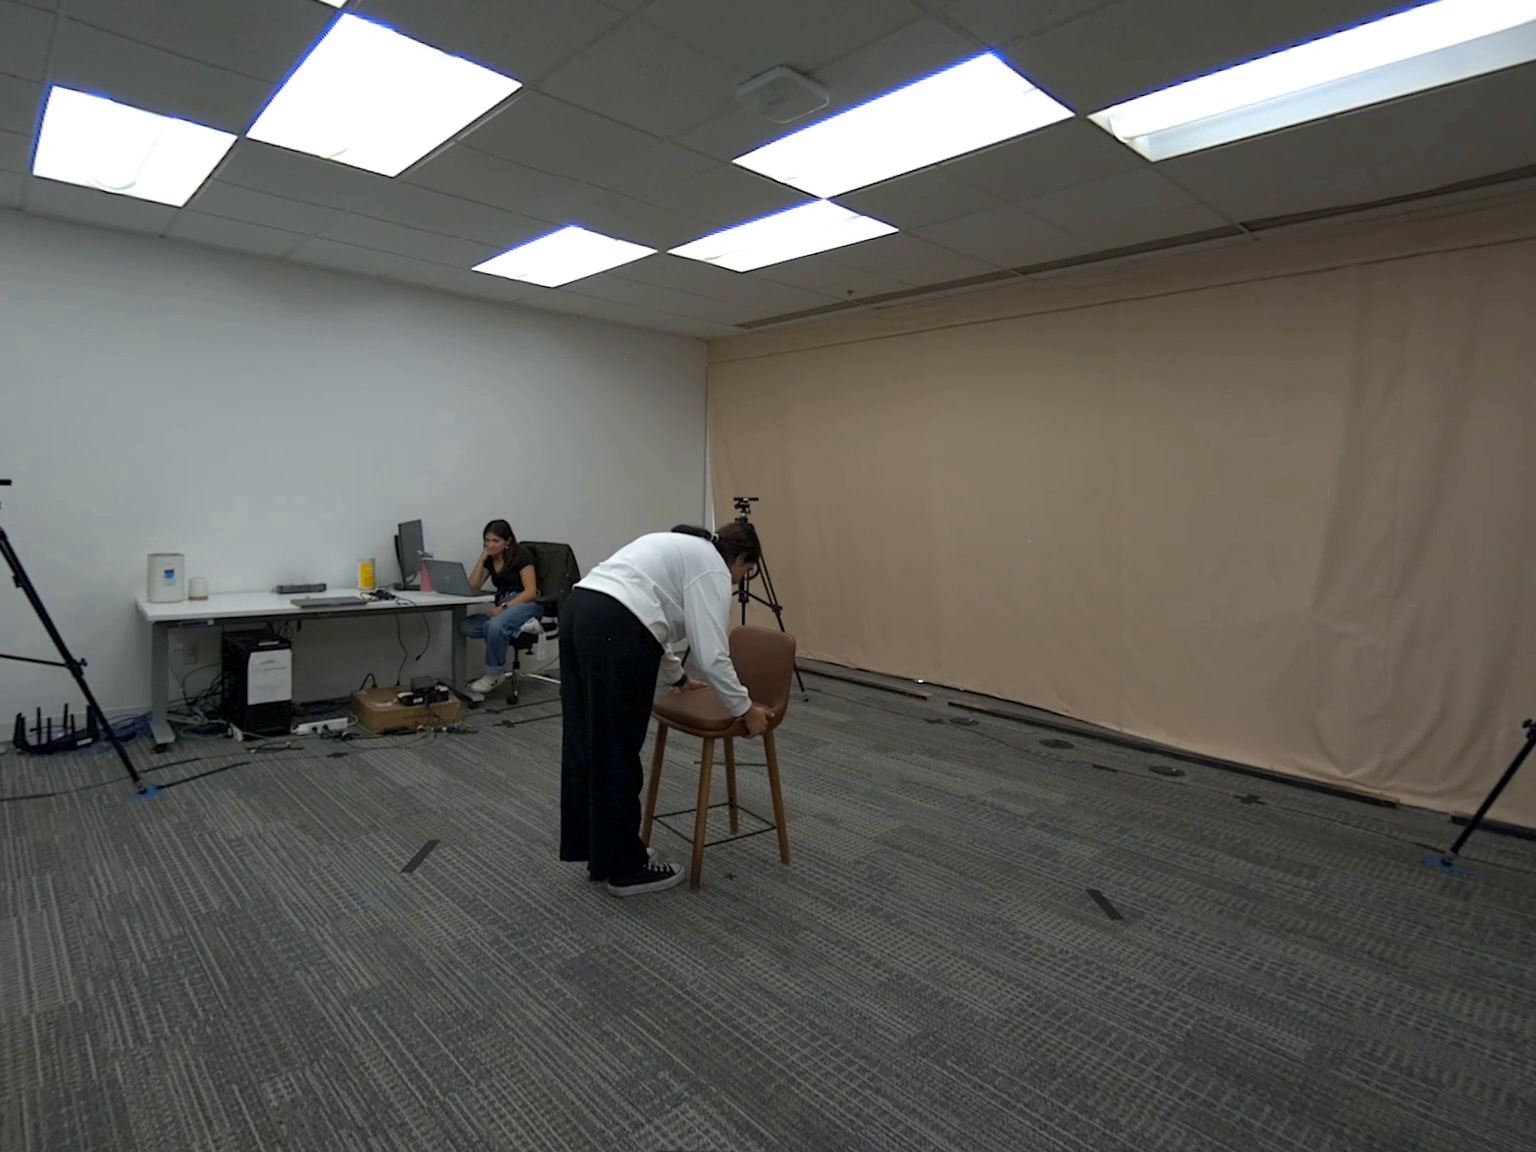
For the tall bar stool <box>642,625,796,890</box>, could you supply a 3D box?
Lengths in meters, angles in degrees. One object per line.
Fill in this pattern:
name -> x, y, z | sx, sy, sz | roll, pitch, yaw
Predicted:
tall bar stool -> -0.196, 0.653, 3.239 | 0.457, 0.889, 0.467 | 1, 2, -36
